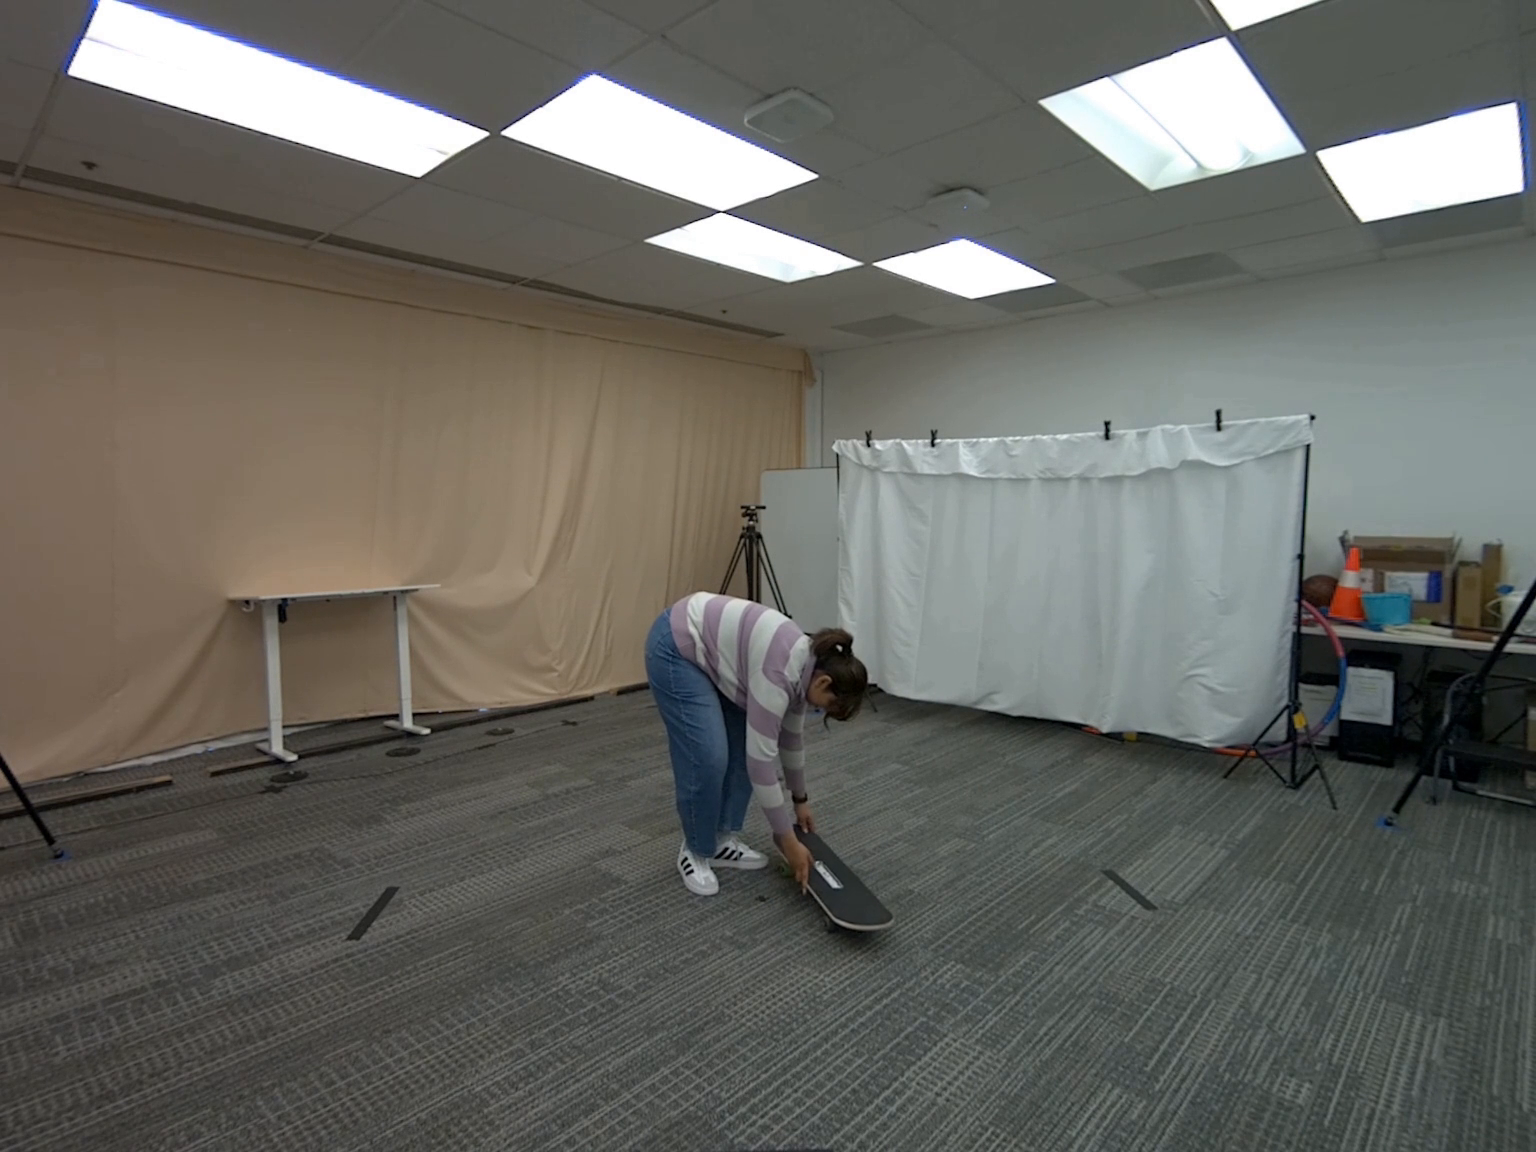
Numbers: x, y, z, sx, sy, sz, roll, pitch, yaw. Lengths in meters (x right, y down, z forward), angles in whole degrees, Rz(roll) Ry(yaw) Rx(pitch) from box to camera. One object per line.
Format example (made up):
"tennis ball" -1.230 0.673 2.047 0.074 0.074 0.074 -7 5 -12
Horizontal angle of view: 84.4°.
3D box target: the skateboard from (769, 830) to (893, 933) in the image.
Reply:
"skateboard" 0.207 1.070 2.978 0.190 0.110 0.802 -2 6 -19
